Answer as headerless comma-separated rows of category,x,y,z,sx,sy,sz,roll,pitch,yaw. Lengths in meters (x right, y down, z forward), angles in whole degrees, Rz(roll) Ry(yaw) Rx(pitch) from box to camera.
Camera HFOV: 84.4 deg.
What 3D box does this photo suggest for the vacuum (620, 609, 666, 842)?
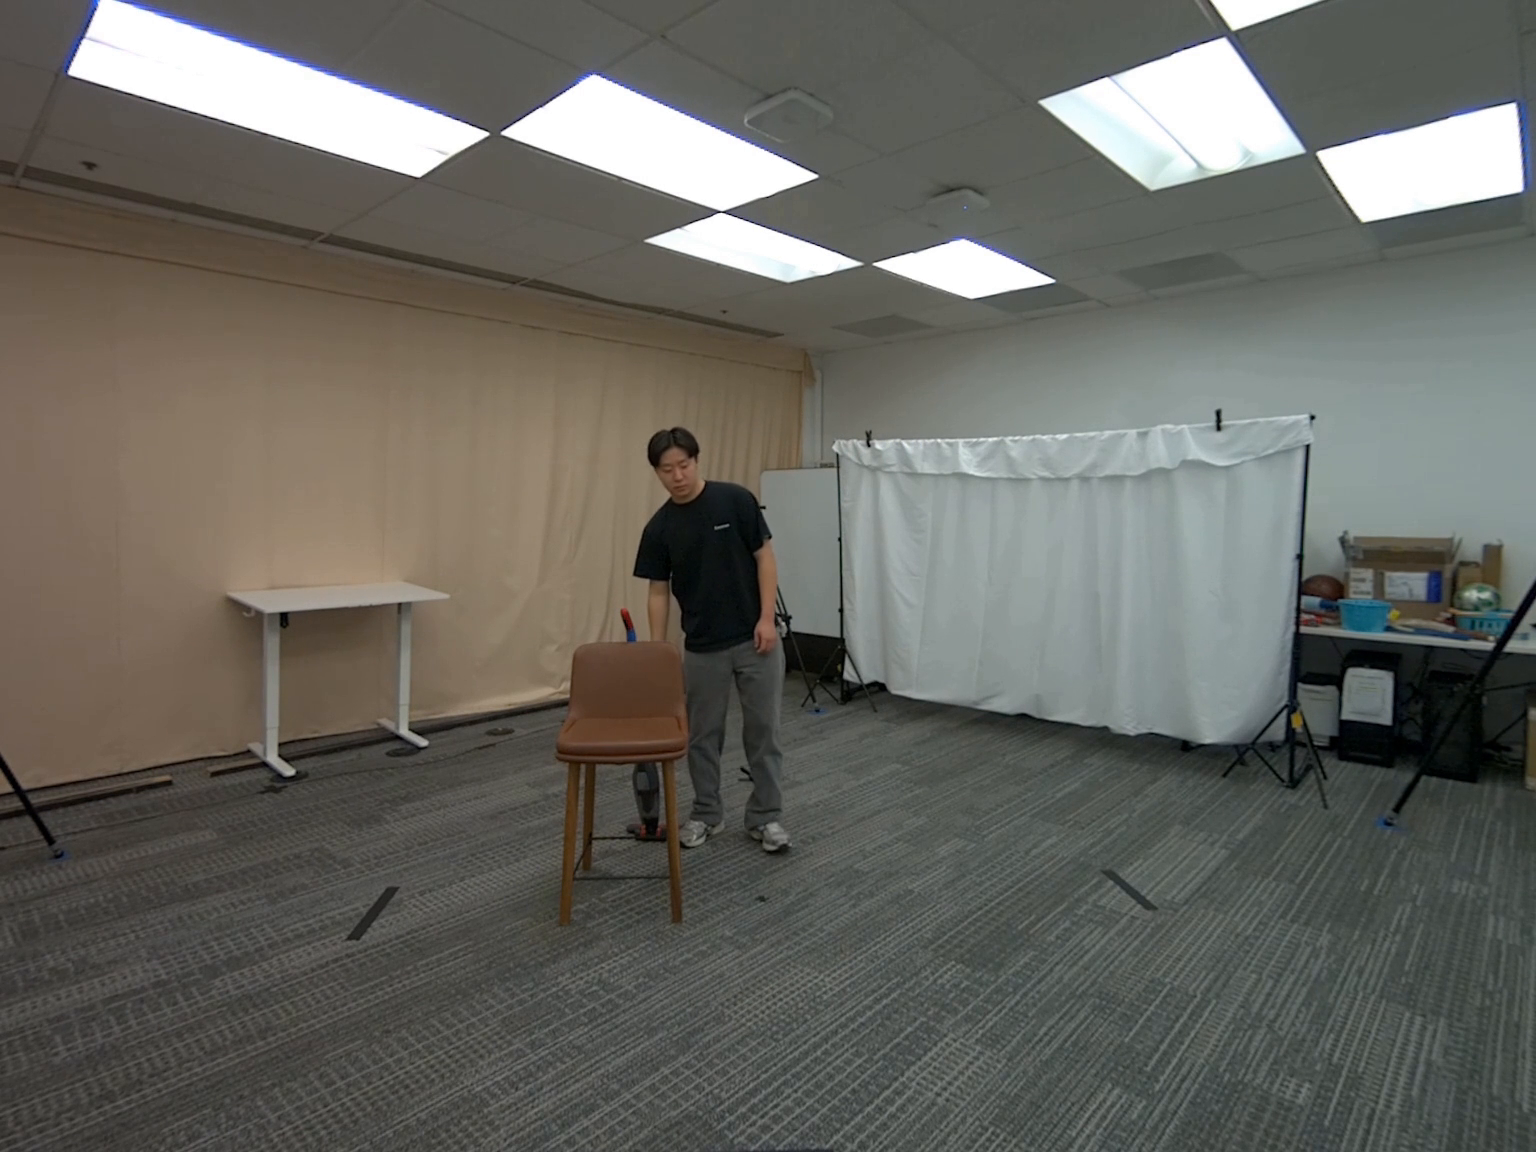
vacuum,-0.516,0.615,3.382,0.253,1.035,0.145,-2,21,3
